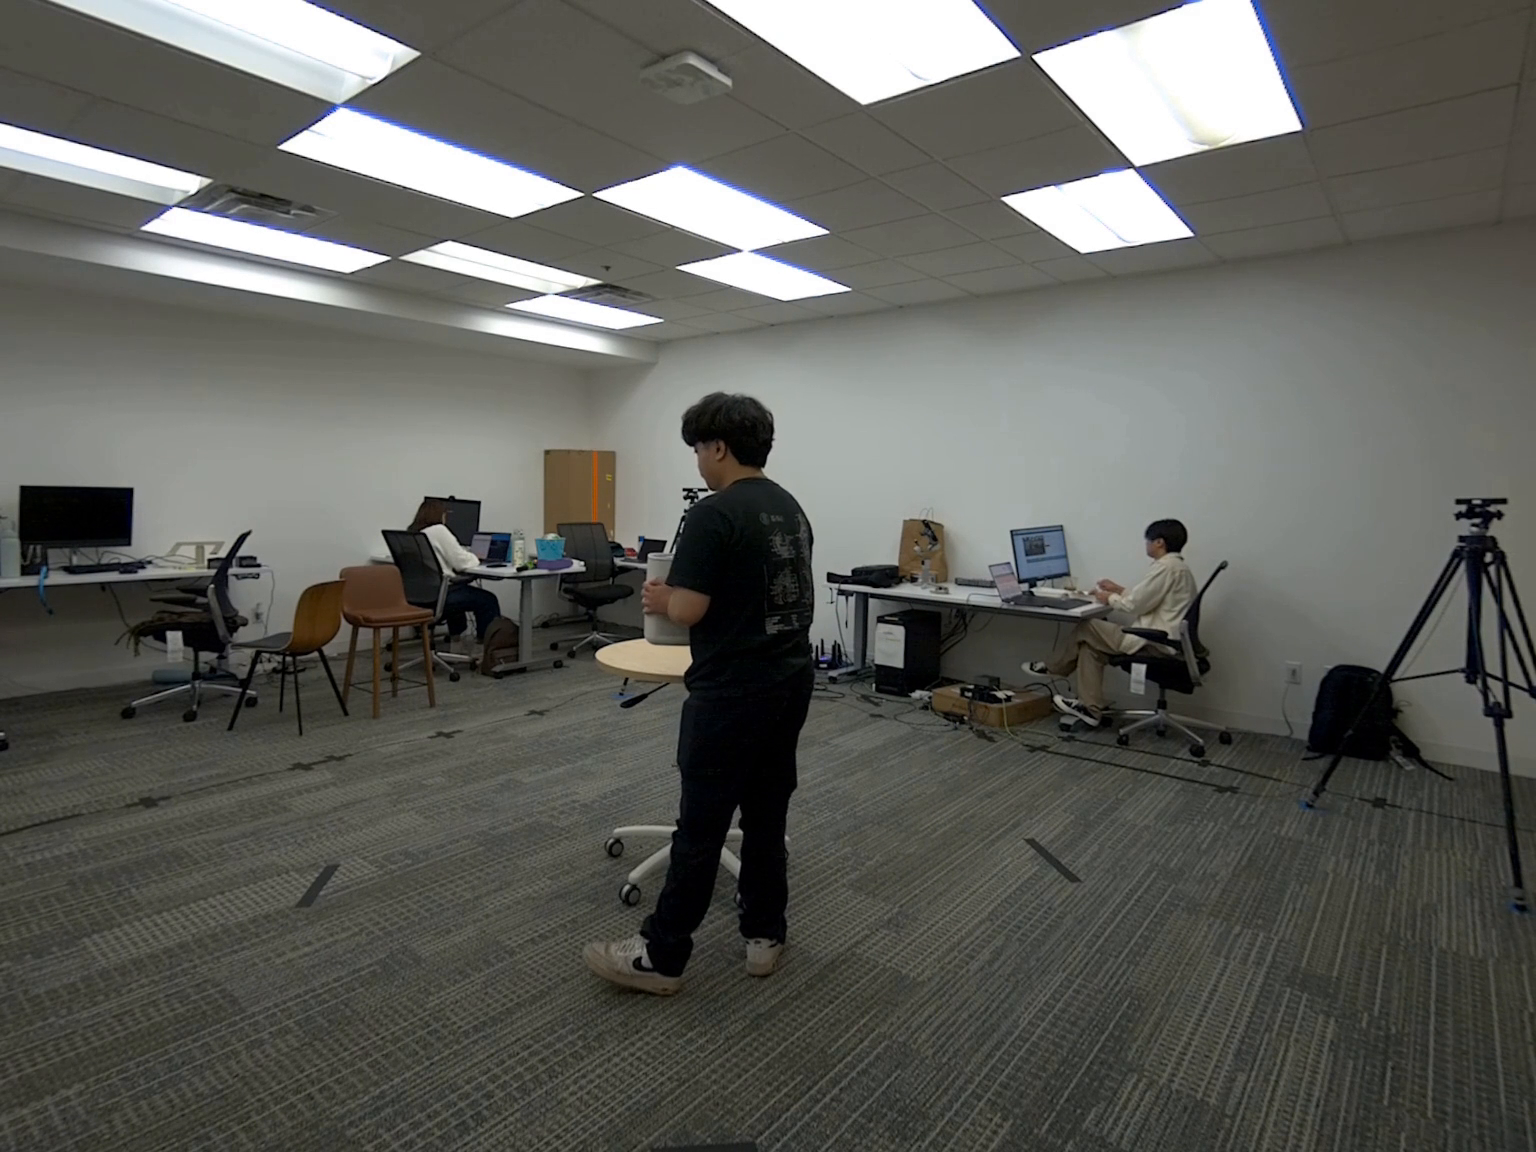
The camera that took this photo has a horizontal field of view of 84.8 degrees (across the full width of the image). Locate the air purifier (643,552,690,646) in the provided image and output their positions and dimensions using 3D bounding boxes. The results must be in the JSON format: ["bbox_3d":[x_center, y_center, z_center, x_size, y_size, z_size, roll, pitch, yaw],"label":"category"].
[{"bbox_3d":[-0.305,0.072,2.599,0.171,0.264,0.172,0,6,-2],"label":"air purifier"}]
